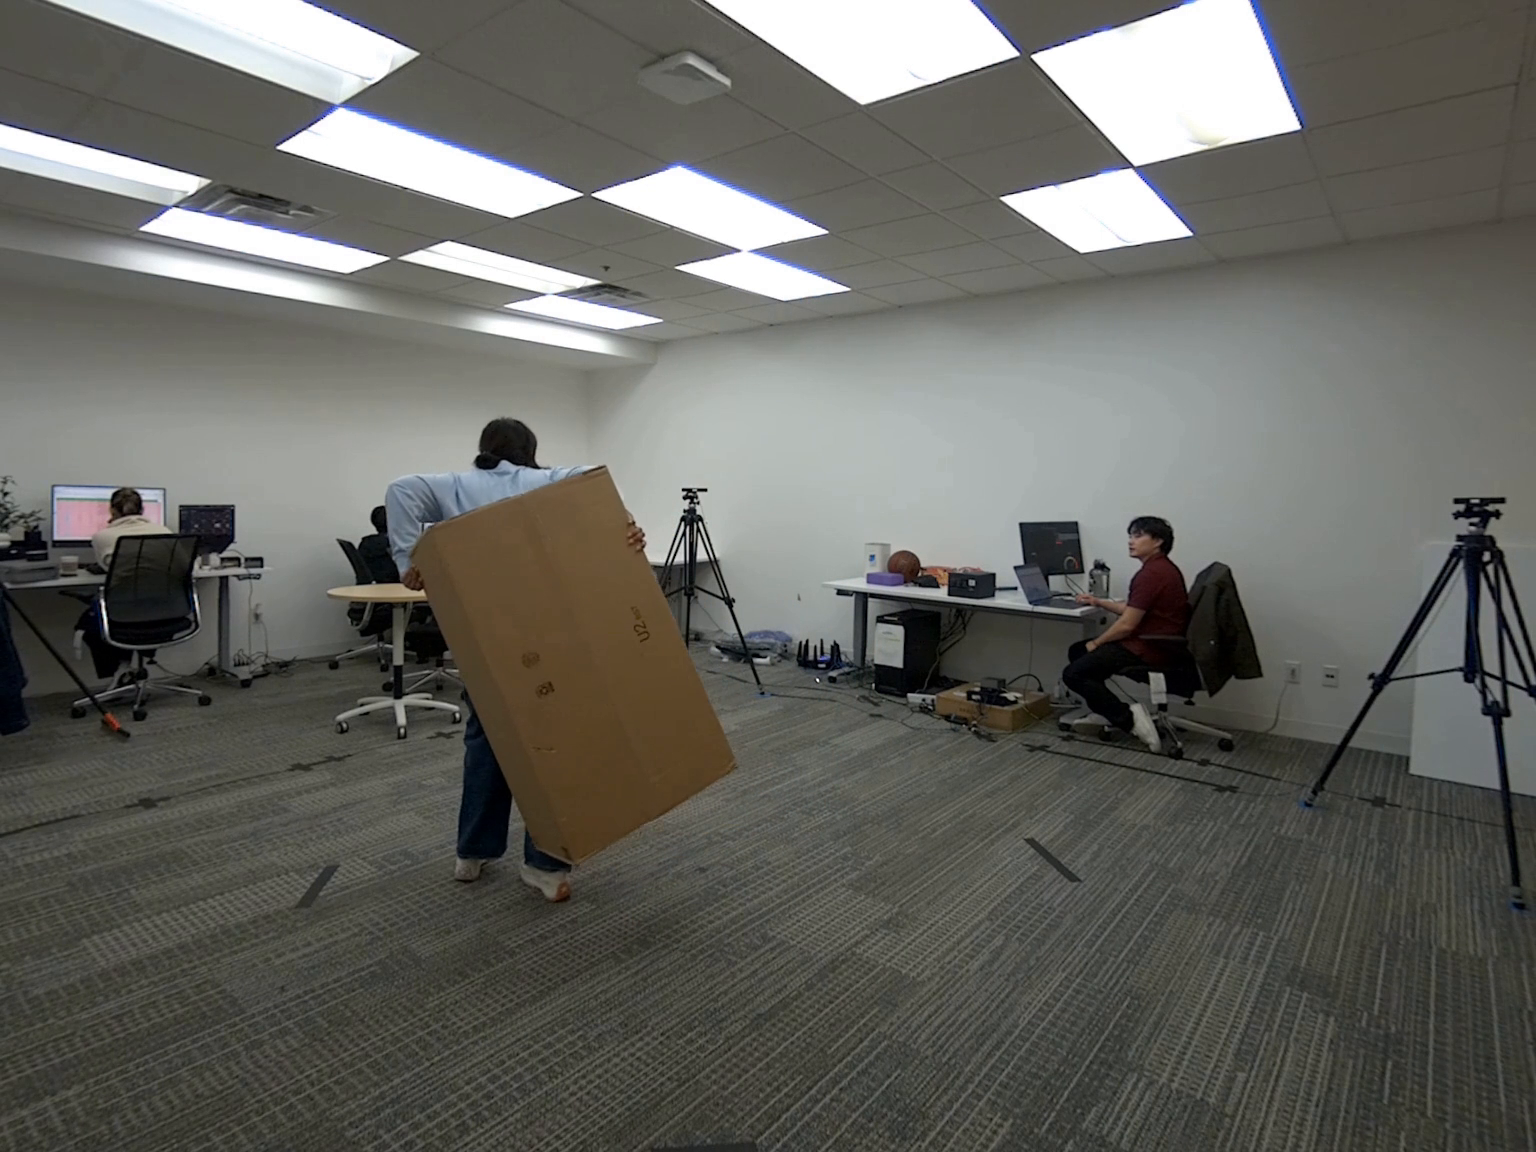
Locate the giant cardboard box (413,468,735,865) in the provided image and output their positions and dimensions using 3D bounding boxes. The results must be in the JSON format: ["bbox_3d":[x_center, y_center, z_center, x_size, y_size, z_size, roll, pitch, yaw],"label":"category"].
[{"bbox_3d":[-0.617,0.259,2.648,0.569,1.027,0.432,-24,0,-31],"label":"giant cardboard box"}]
